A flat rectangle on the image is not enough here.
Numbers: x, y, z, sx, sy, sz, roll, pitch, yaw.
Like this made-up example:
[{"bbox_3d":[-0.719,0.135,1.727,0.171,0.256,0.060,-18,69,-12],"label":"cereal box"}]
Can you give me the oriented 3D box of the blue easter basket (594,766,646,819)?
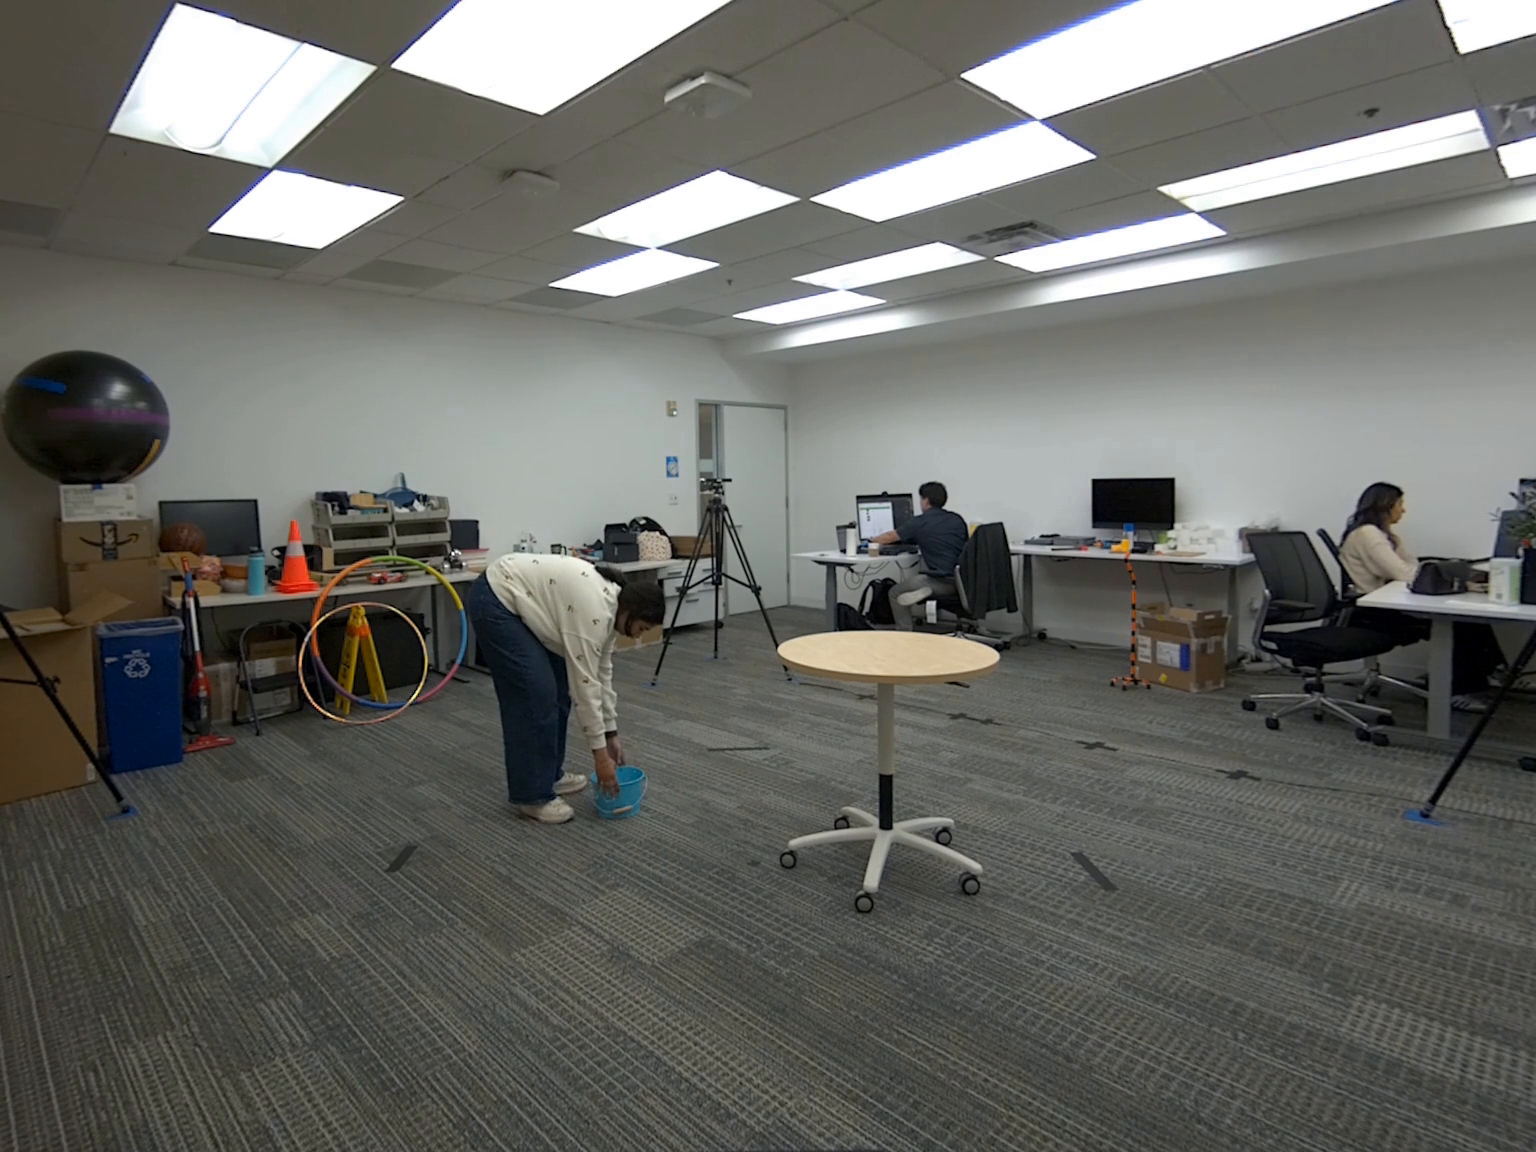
[{"bbox_3d":[-0.643,0.916,3.626,0.243,0.155,0.245,-2,5,-2],"label":"blue easter basket"}]
